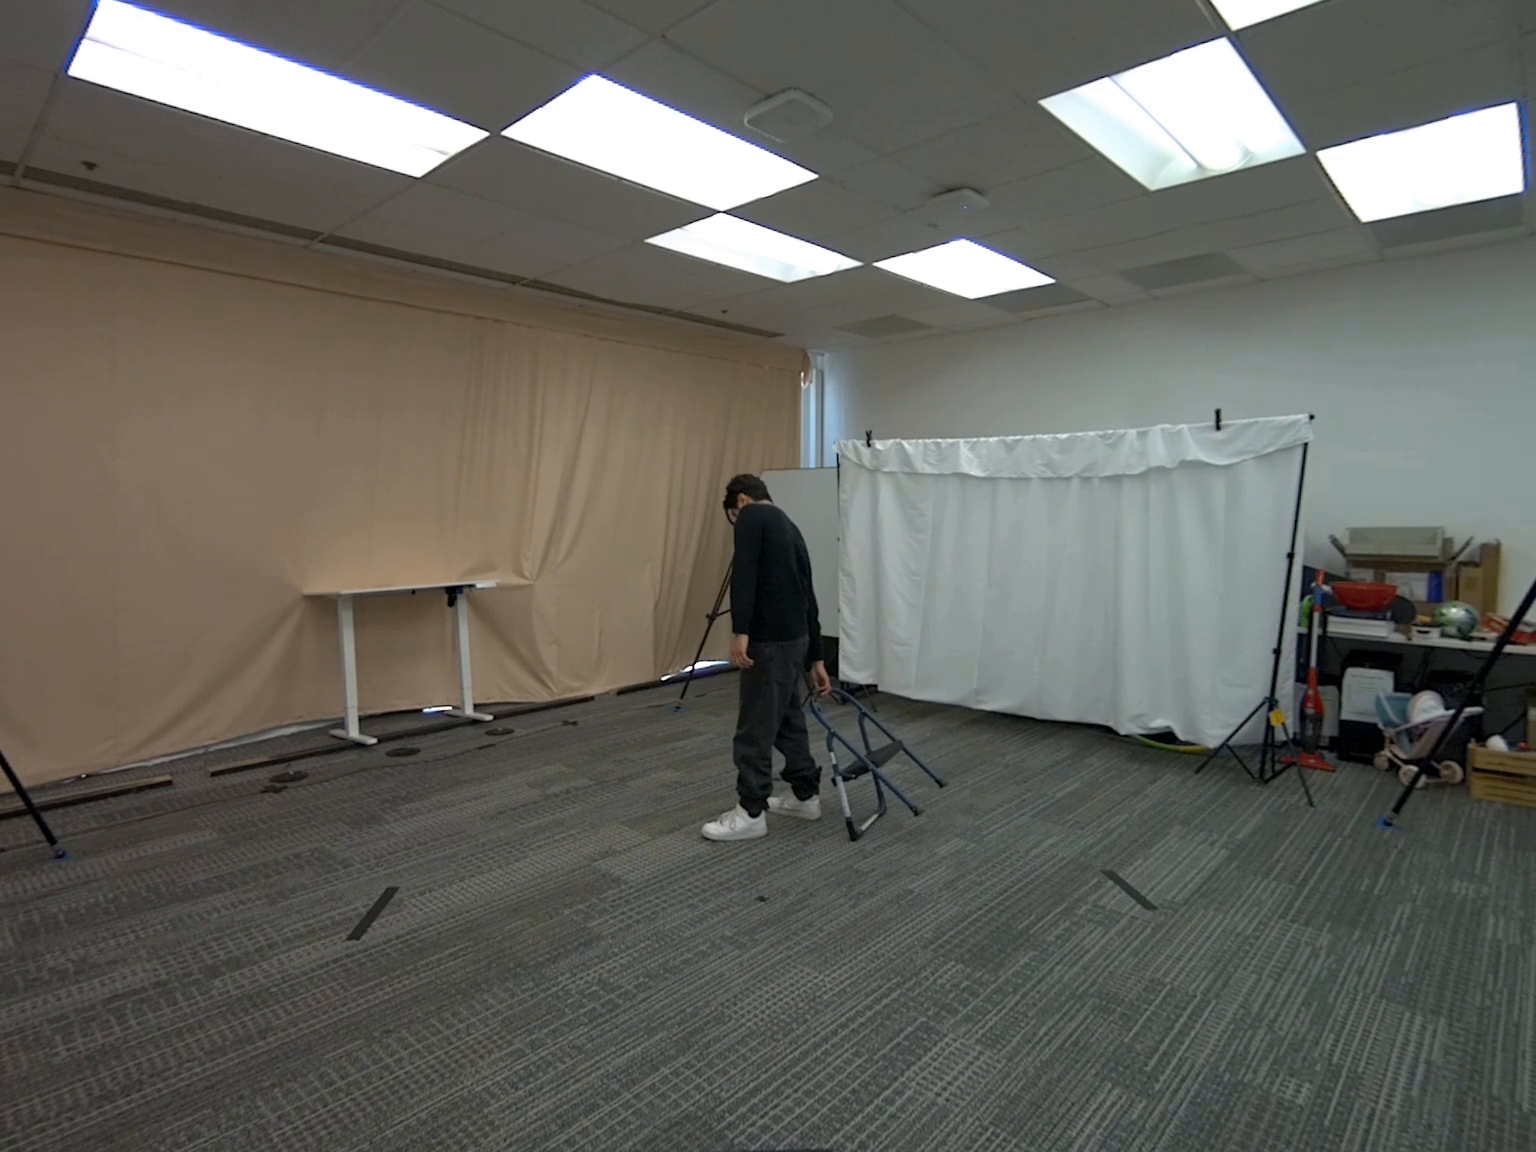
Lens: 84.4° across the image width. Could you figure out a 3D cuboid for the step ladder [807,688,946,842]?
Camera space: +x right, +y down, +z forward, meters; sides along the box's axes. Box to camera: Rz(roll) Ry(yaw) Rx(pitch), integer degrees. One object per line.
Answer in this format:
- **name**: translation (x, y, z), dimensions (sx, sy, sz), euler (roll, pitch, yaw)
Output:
- **step ladder**: translation (0.432, 0.751, 3.655), dimensions (0.354, 0.614, 0.420), euler (-33, -12, 24)
